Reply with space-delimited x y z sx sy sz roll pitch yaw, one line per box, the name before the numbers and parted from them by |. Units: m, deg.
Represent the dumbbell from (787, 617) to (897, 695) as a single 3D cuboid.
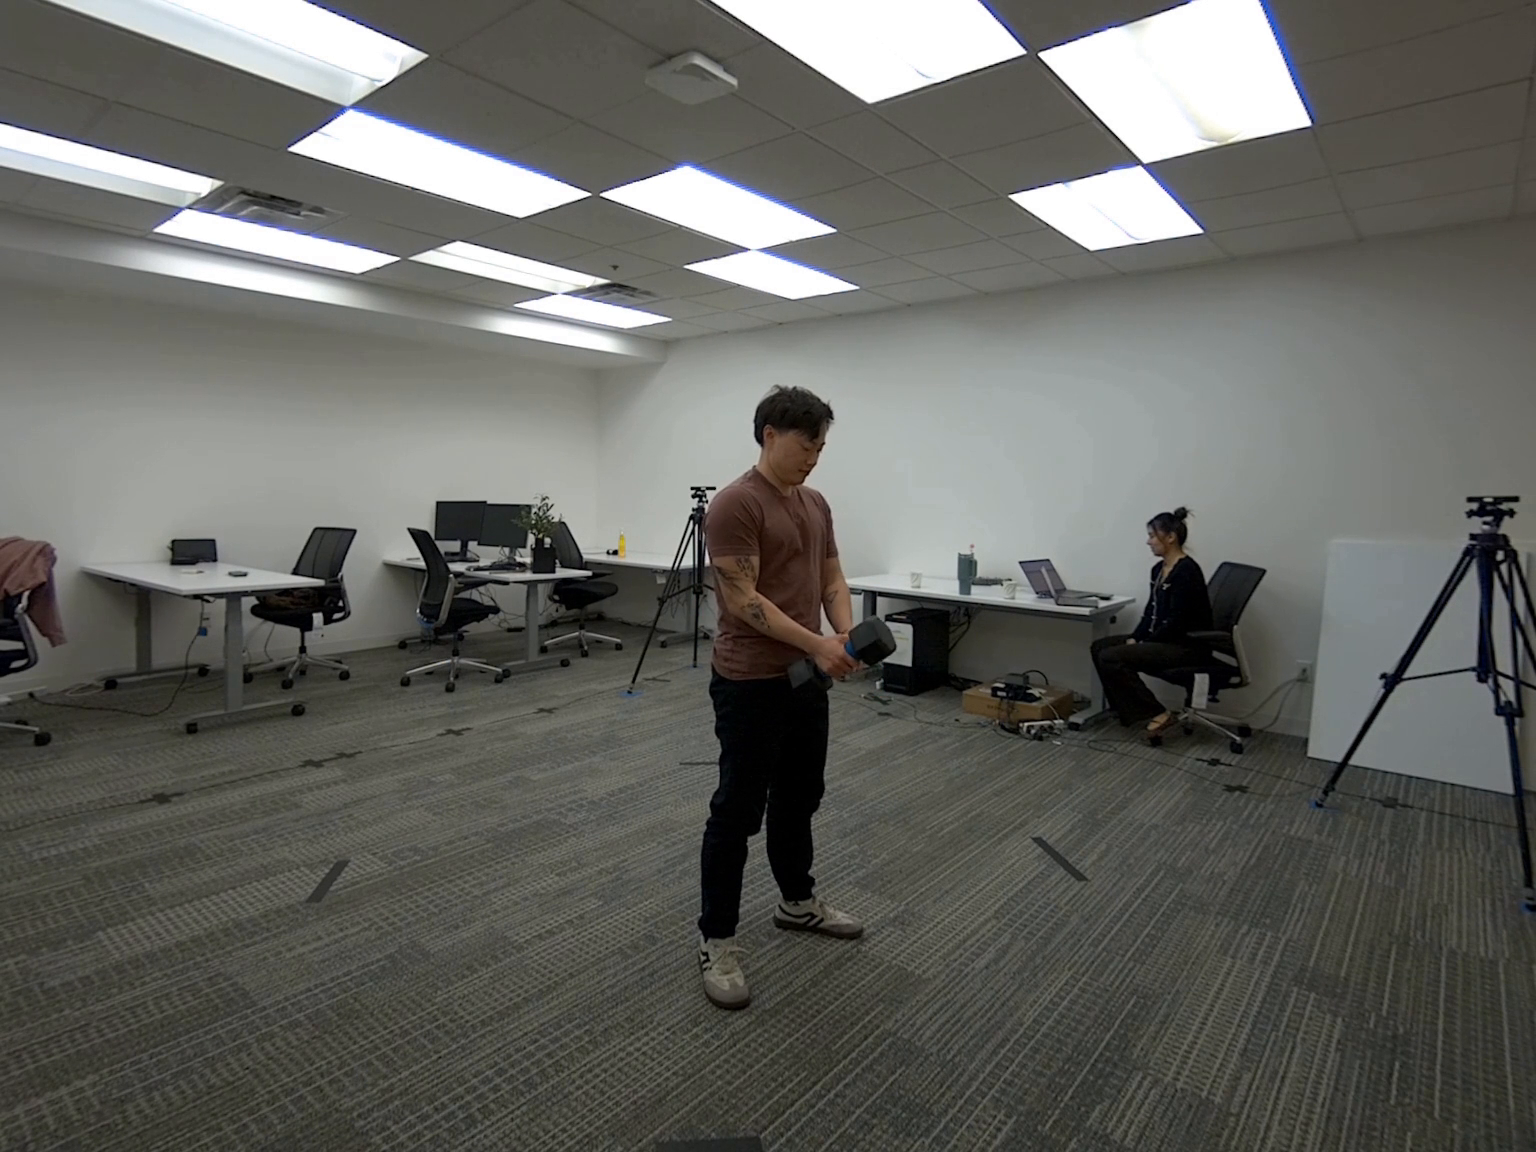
dumbbell | 0.187 0.211 2.254 0.296 0.110 0.121 -34 -7 27
